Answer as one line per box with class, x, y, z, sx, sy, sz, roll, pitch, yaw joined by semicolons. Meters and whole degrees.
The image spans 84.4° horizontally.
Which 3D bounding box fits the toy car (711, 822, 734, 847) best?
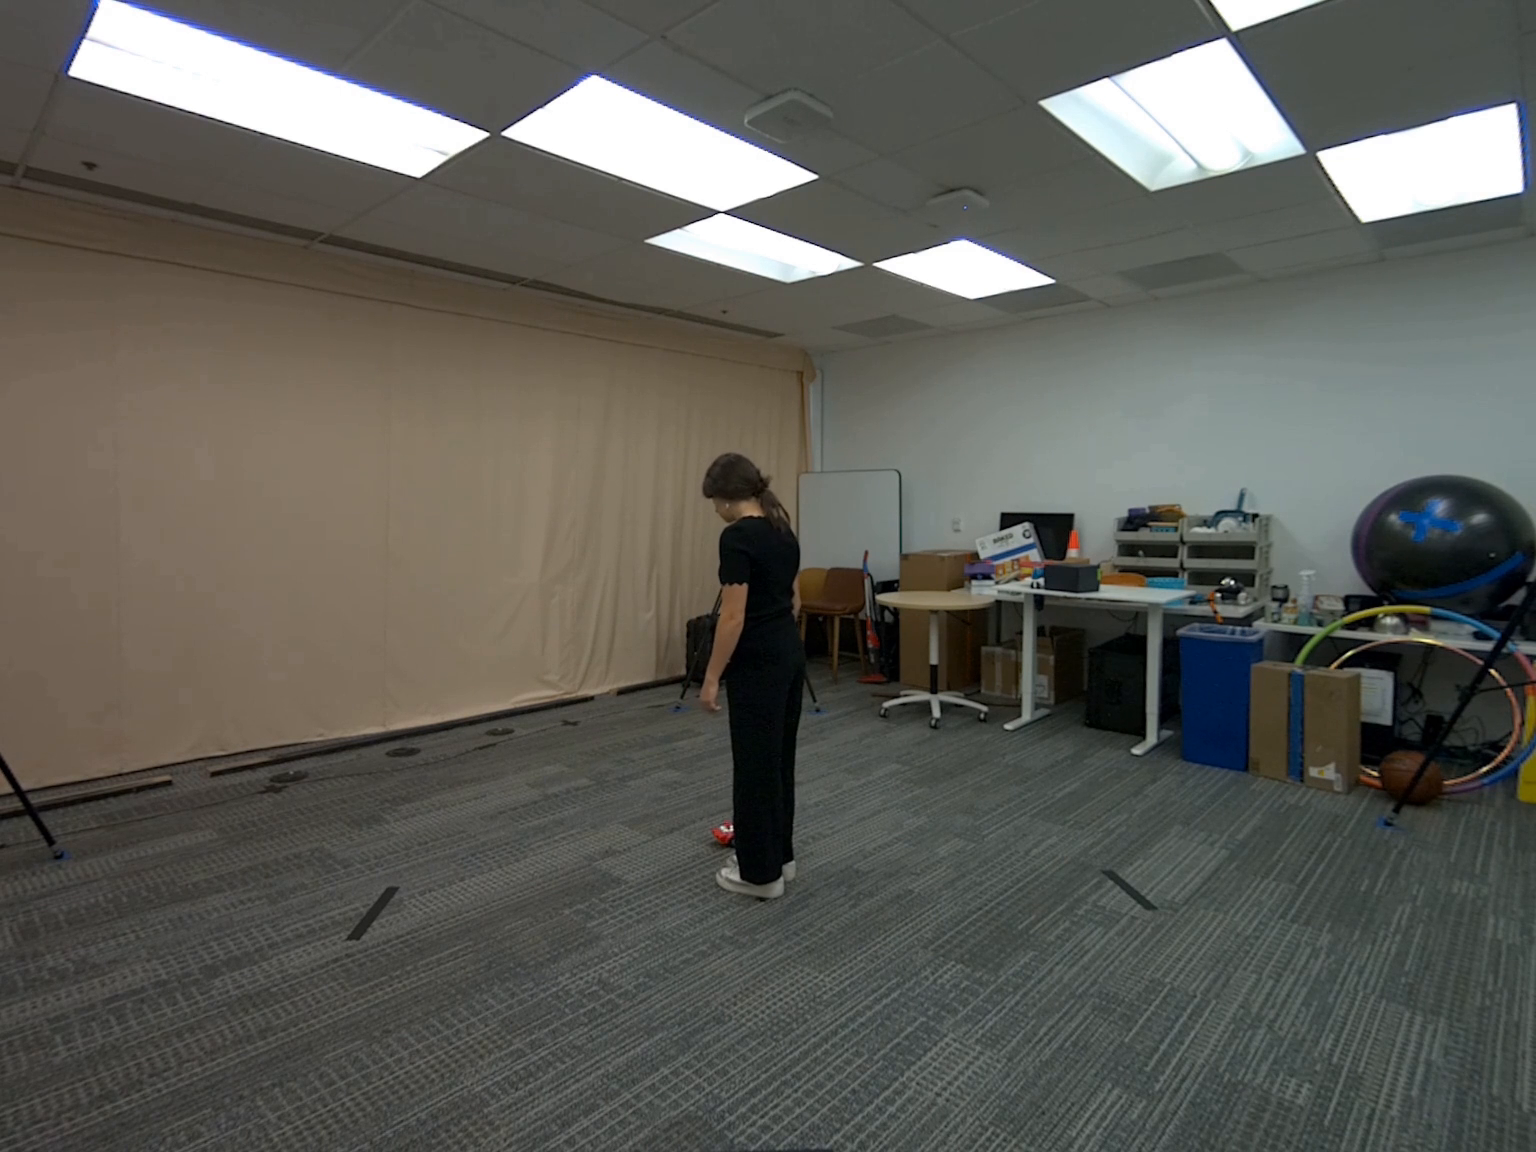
toy car;-0.116;1.068;3.491;0.249;0.083;0.133;10;-1;-21
